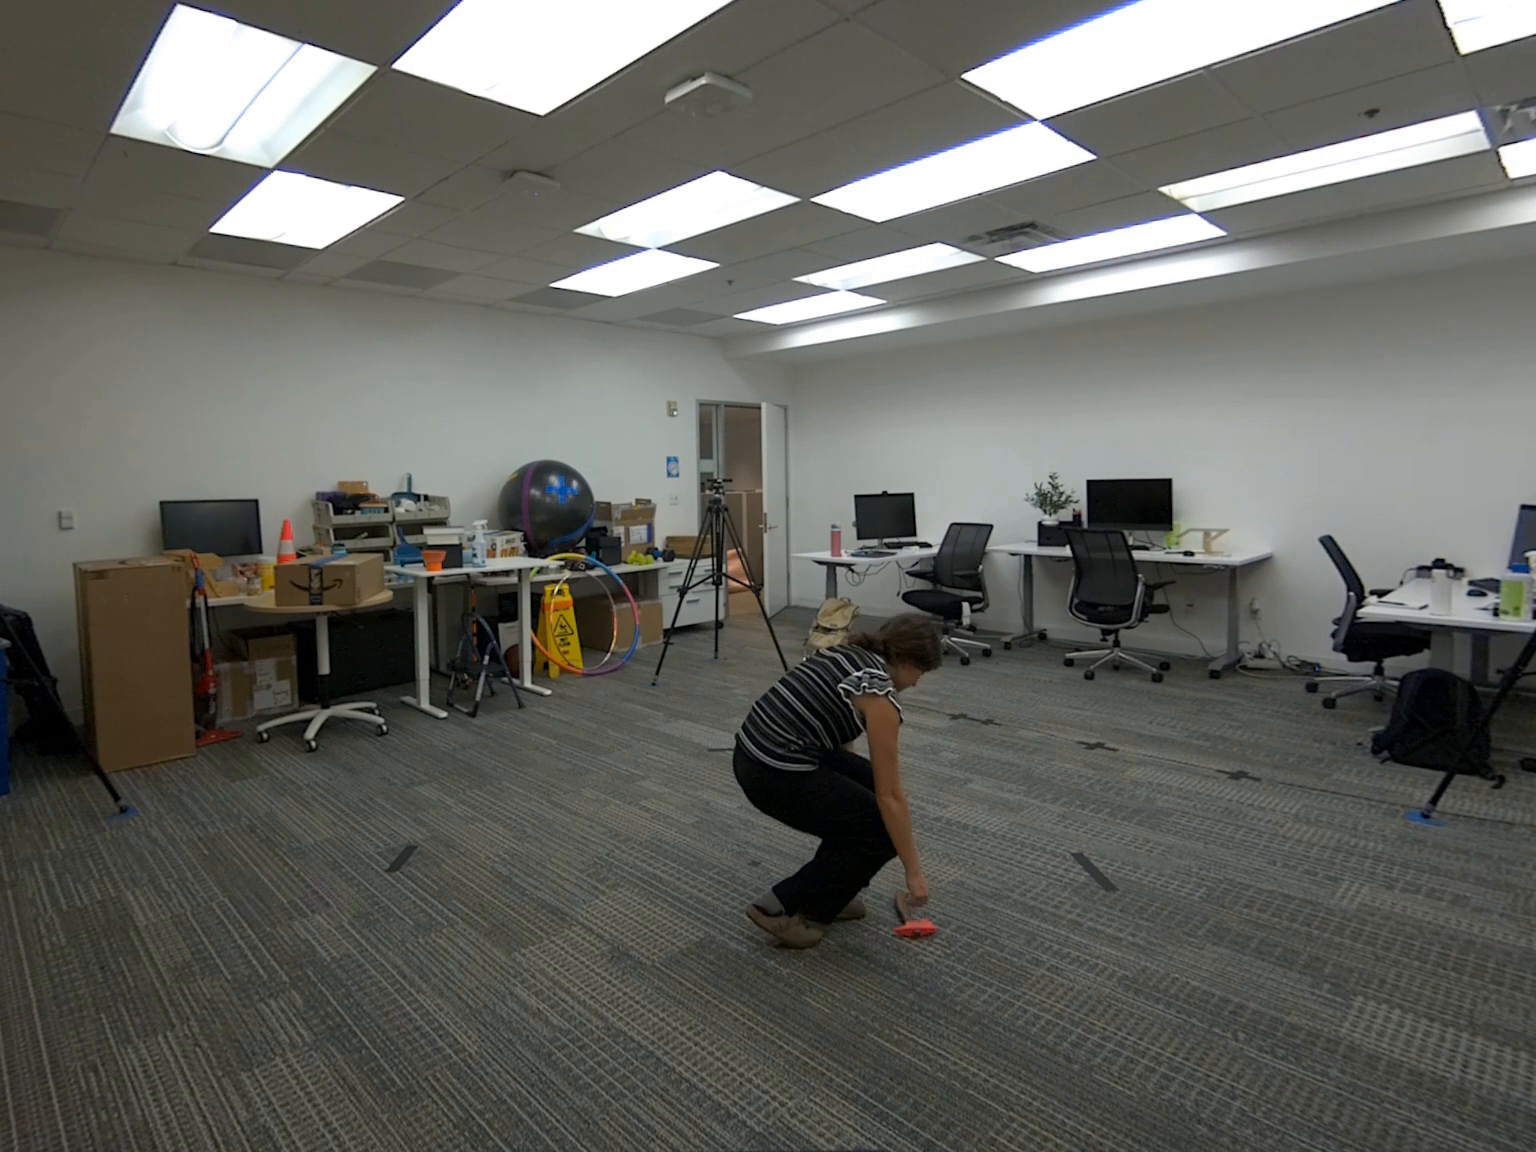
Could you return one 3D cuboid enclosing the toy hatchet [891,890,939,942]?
[{"bbox_3d":[0.467,1.067,2.711,0.132,0.029,0.268,-3,5,10],"label":"toy hatchet"}]
